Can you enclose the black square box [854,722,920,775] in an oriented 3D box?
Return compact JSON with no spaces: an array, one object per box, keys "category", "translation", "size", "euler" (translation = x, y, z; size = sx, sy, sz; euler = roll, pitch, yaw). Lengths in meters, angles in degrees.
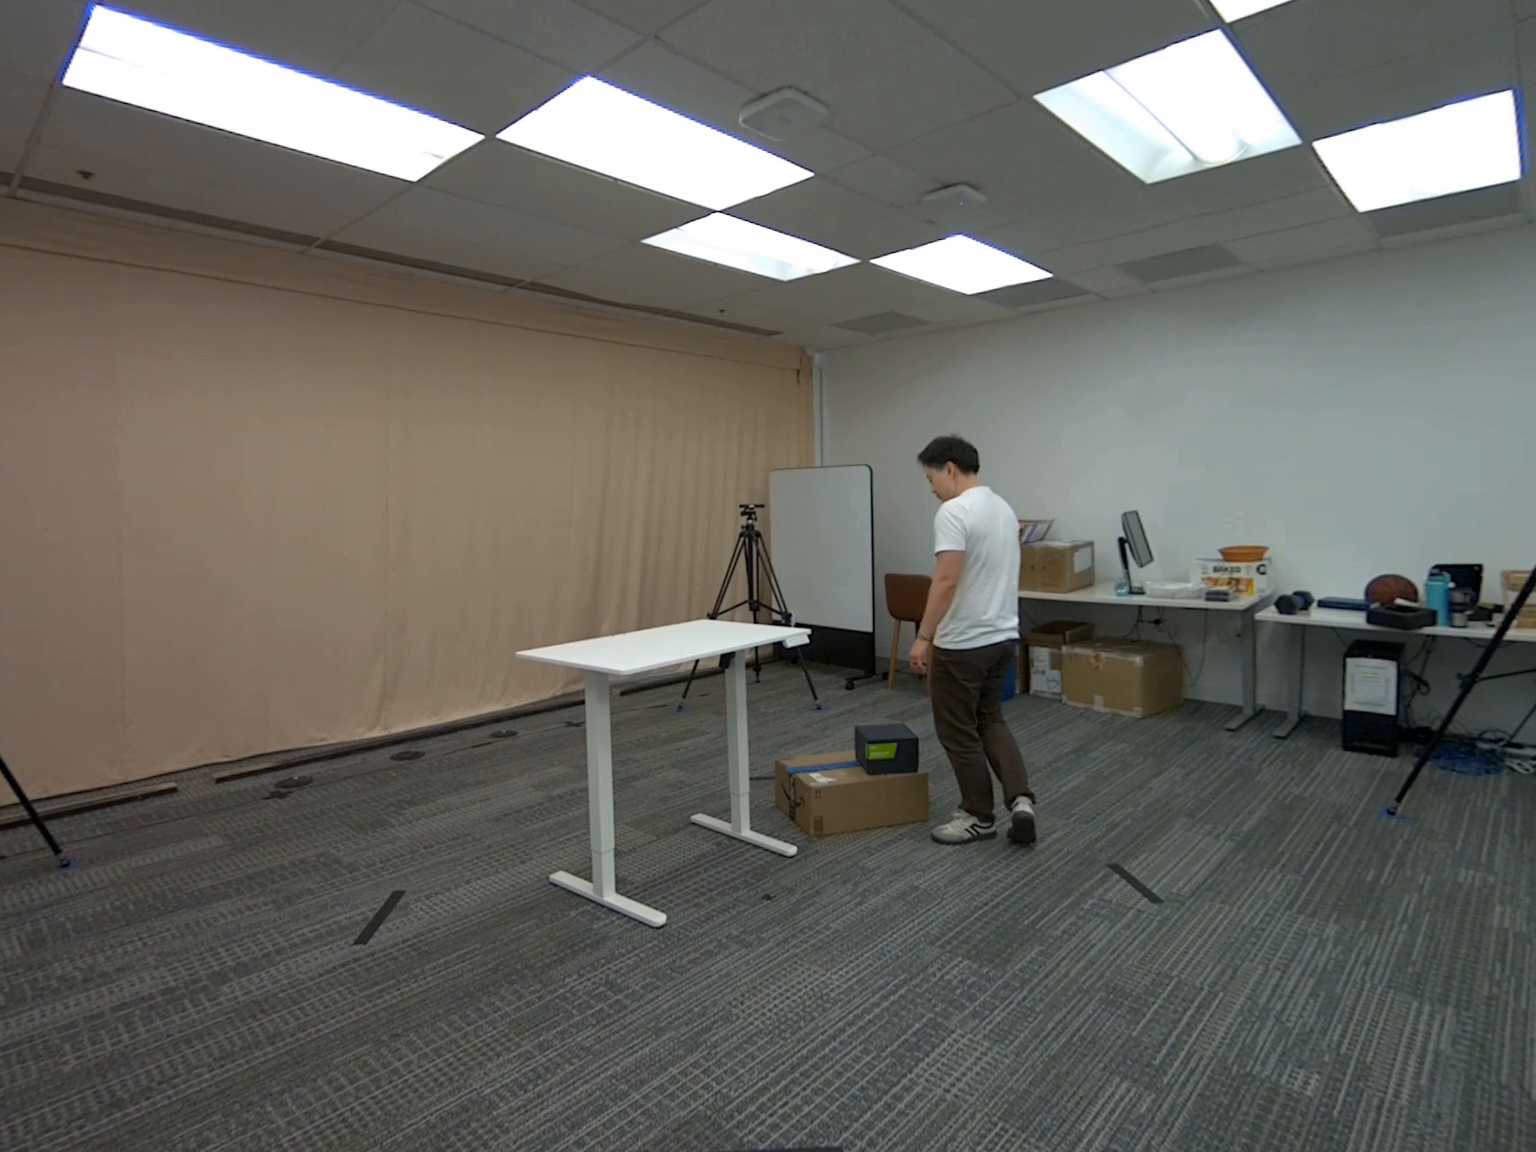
[{"category":"black square box","translation":[0.527,0.765,3.745],"size":[0.227,0.155,0.219],"euler":[-2,5,-6]}]
